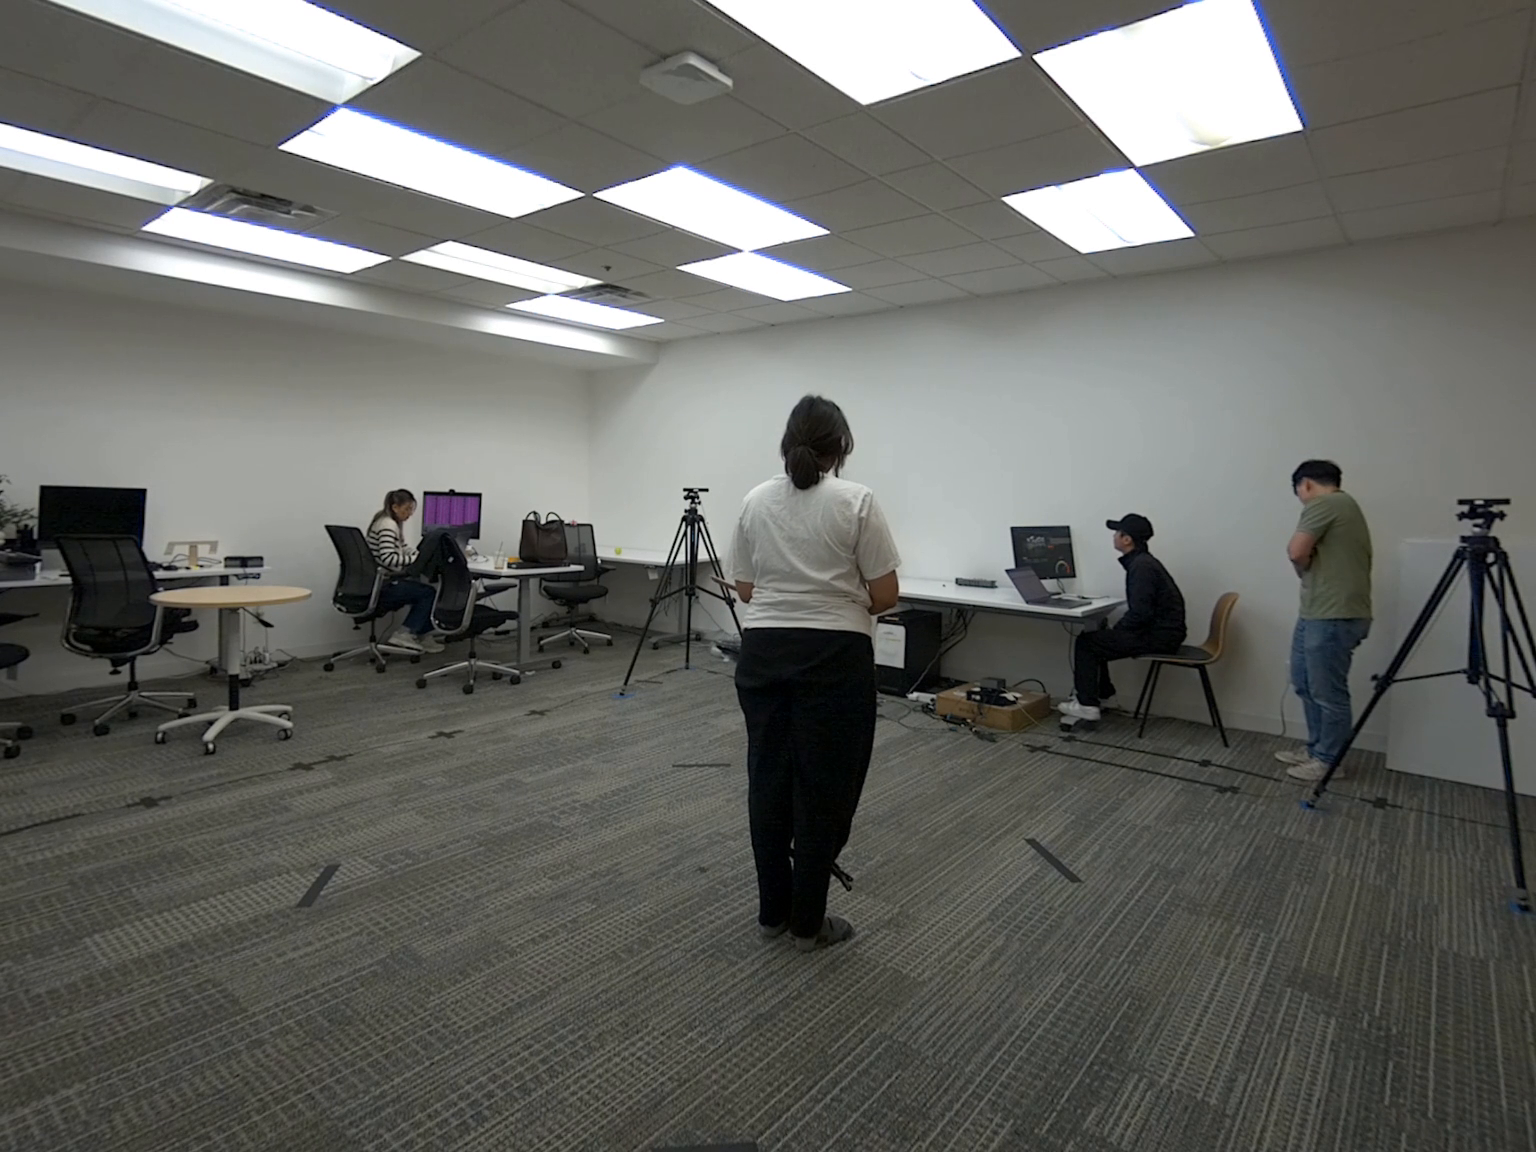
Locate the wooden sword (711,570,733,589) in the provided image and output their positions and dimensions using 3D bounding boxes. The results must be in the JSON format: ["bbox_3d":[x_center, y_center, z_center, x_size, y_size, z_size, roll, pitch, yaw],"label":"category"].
[{"bbox_3d":[-0.017,0.091,3.328,0.023,0.051,1.055,-11,13,-23],"label":"wooden sword"}]
